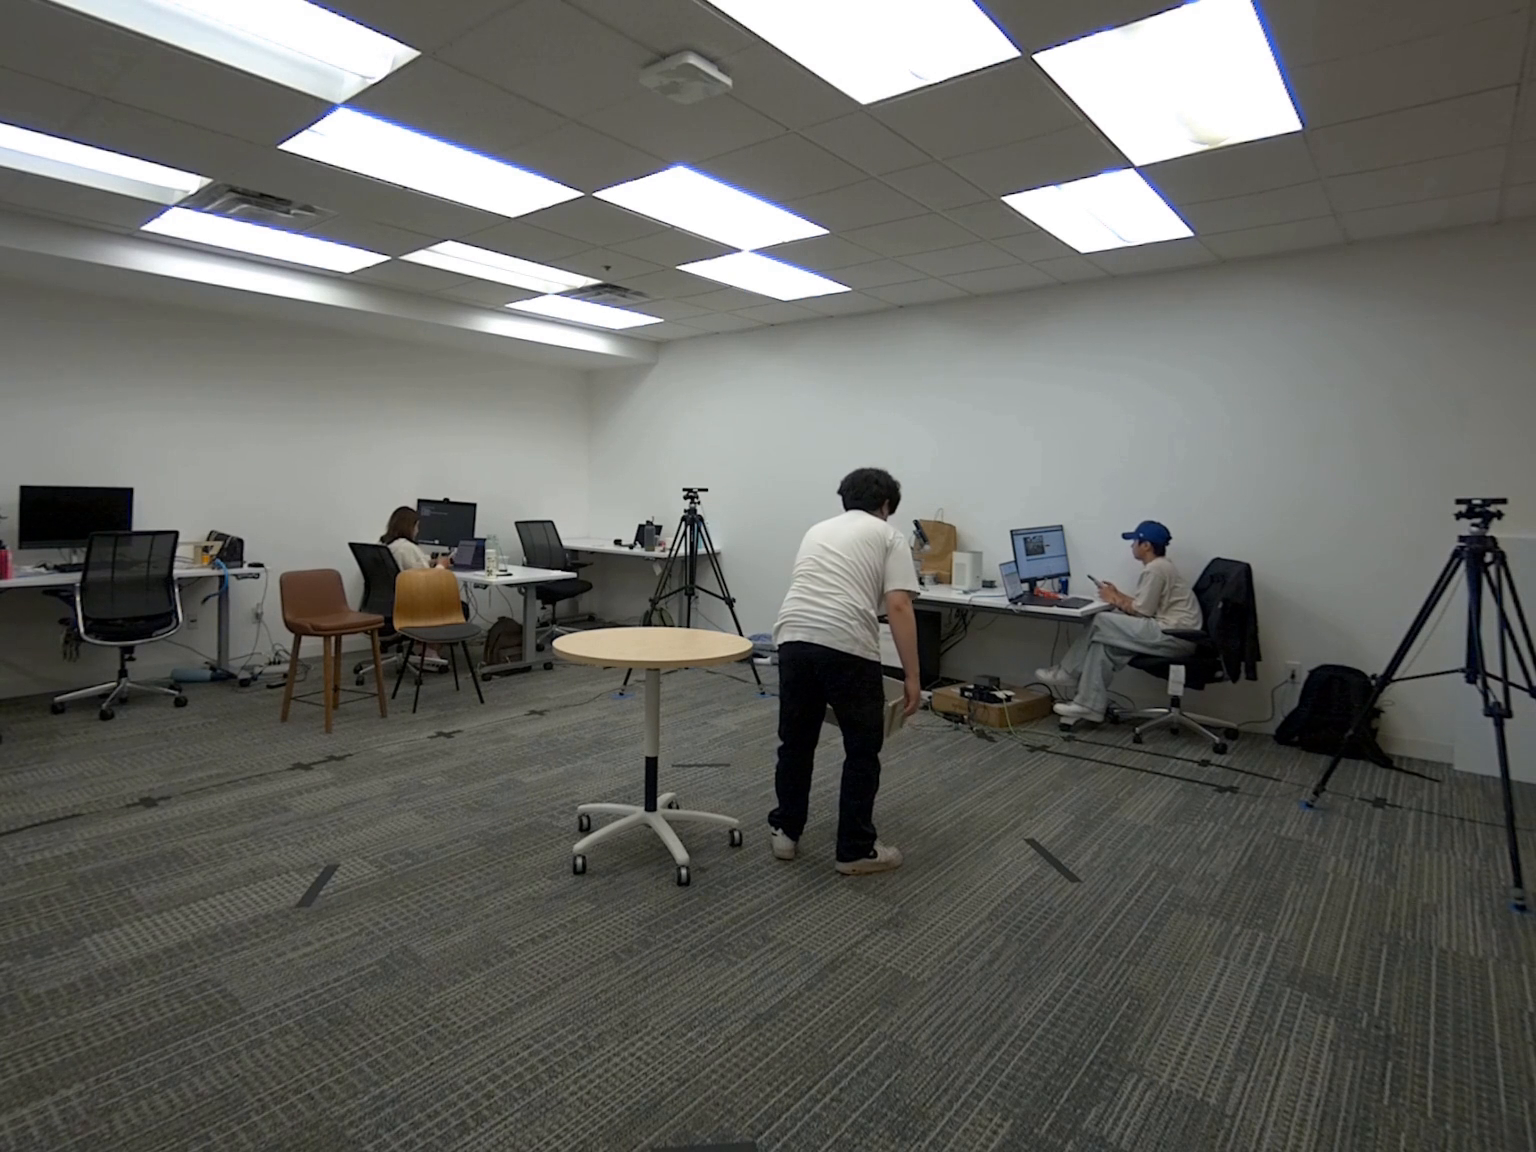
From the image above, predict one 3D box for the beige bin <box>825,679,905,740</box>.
[{"bbox_3d":[0.344,0.522,3.543,0.436,0.188,0.368,15,10,28],"label":"beige bin"}]
